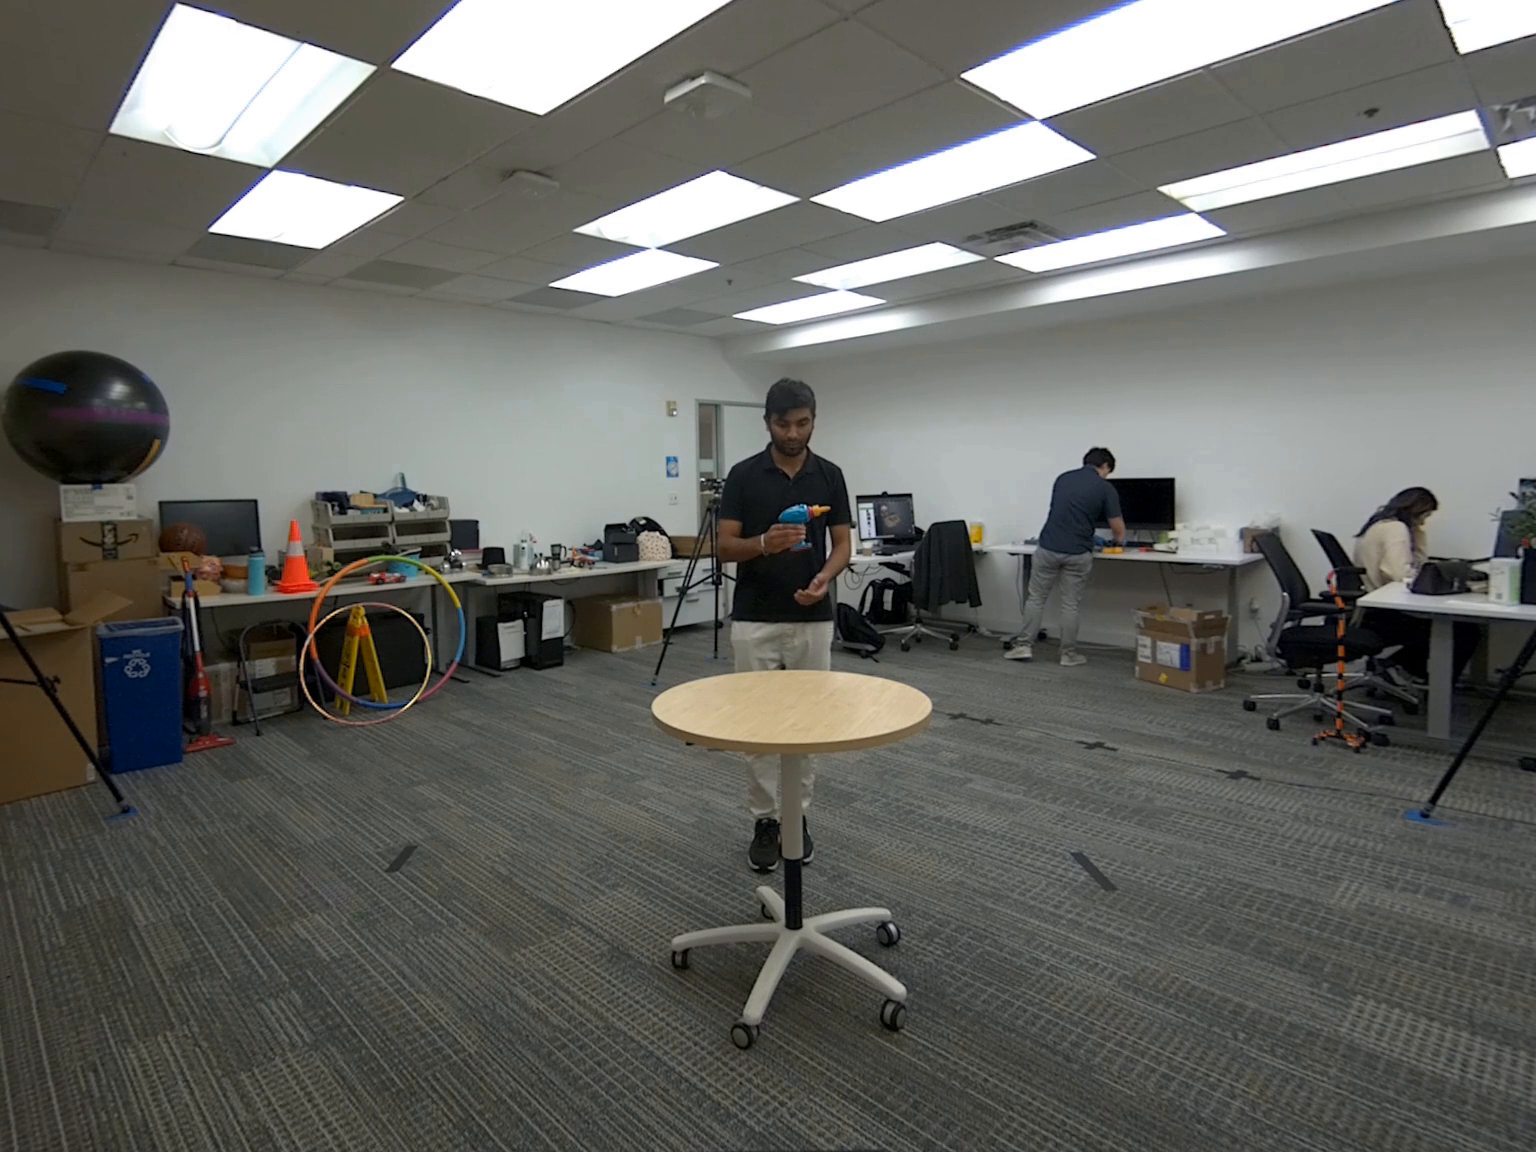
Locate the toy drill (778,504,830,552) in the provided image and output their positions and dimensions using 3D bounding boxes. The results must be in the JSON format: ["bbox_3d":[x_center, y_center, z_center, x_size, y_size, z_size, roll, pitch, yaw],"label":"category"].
[{"bbox_3d":[0.119,-0.163,2.788,0.171,0.145,0.061,-12,4,8],"label":"toy drill"}]
